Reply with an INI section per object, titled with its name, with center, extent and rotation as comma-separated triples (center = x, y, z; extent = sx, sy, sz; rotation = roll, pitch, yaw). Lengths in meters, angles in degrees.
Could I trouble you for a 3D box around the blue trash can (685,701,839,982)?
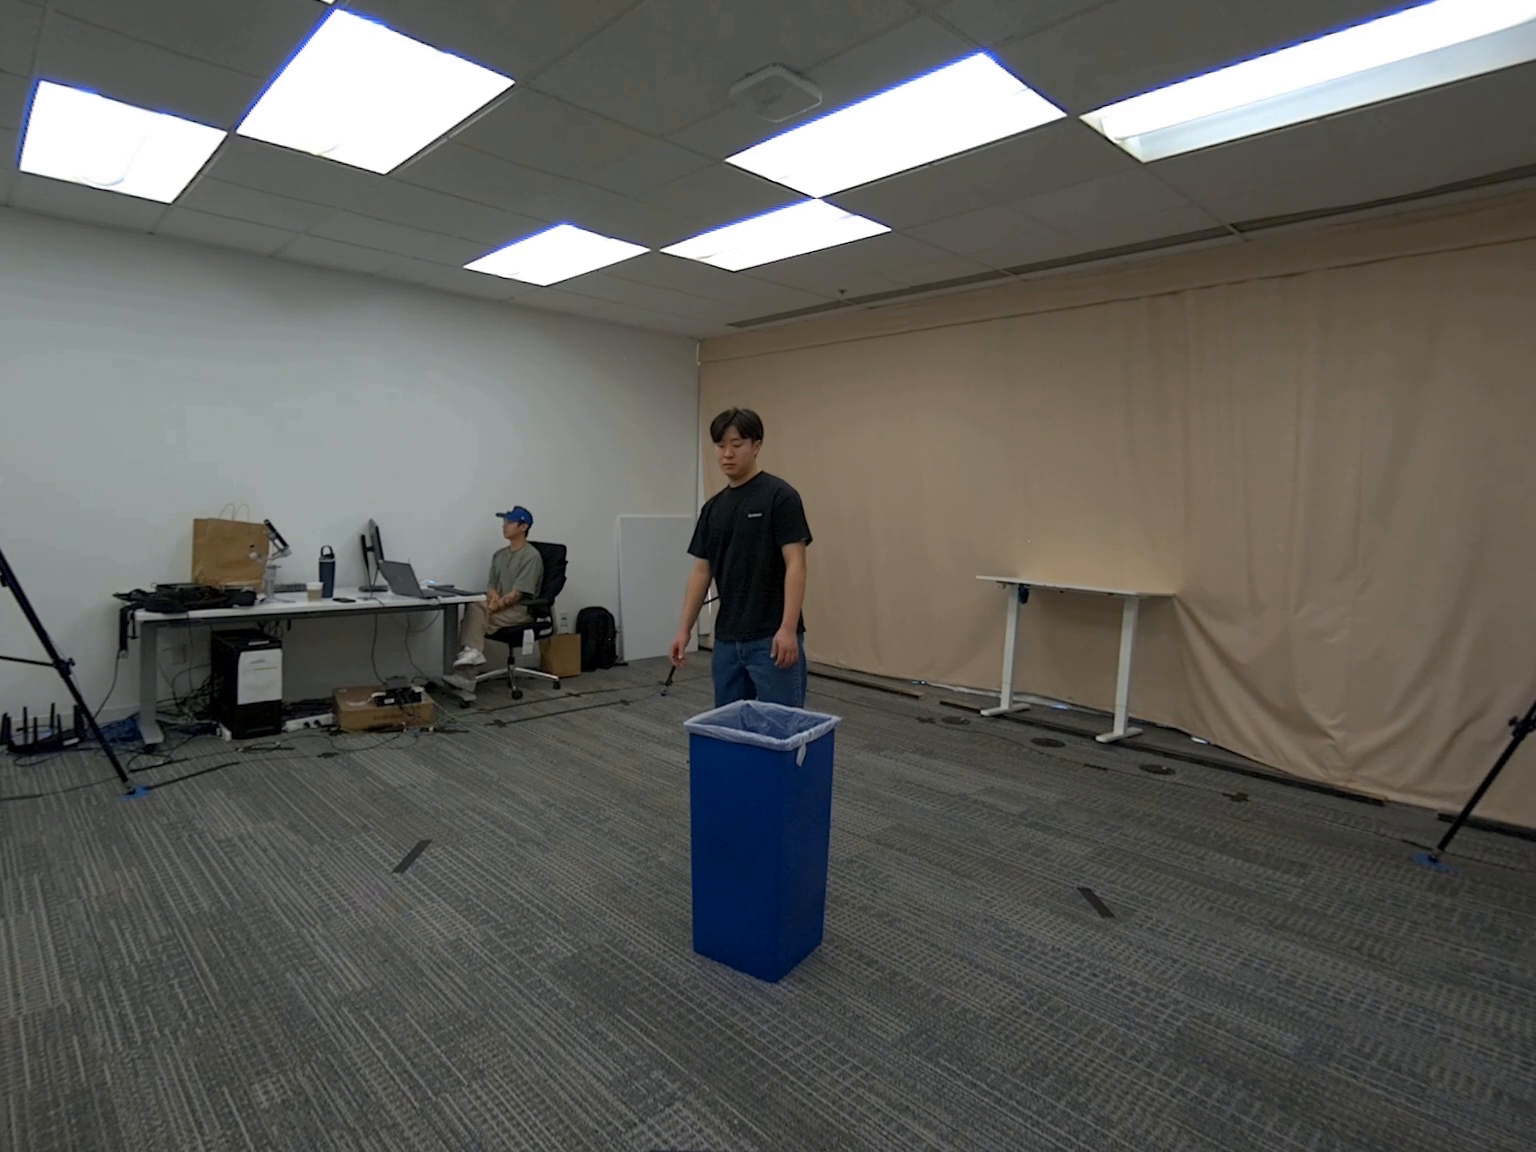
[blue trash can]
center = -0.034, 0.798, 2.599
extent = 0.383, 0.712, 0.370
rotation = 4, 4, 32
